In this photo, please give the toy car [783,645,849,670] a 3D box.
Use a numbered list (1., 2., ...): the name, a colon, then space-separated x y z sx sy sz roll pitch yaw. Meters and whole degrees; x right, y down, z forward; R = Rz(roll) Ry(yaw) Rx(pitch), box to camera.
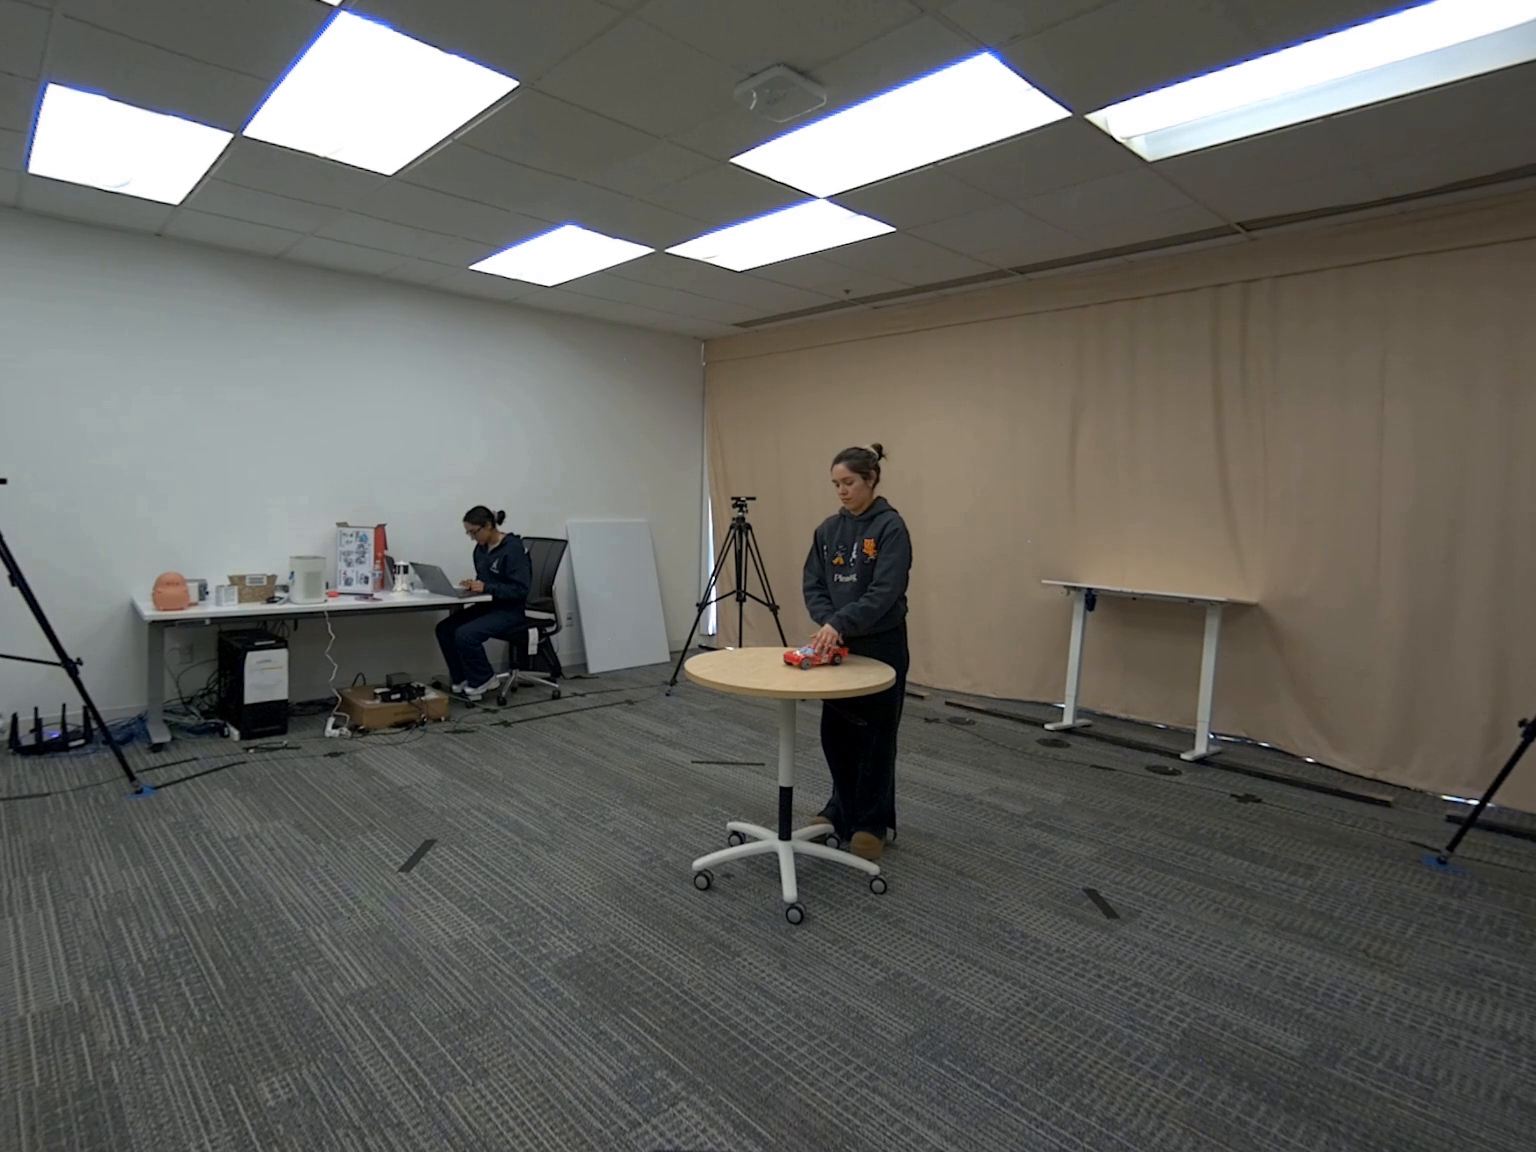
1. toy car: 0.171 0.297 3.129 0.250 0.082 0.133 -15 13 -33
